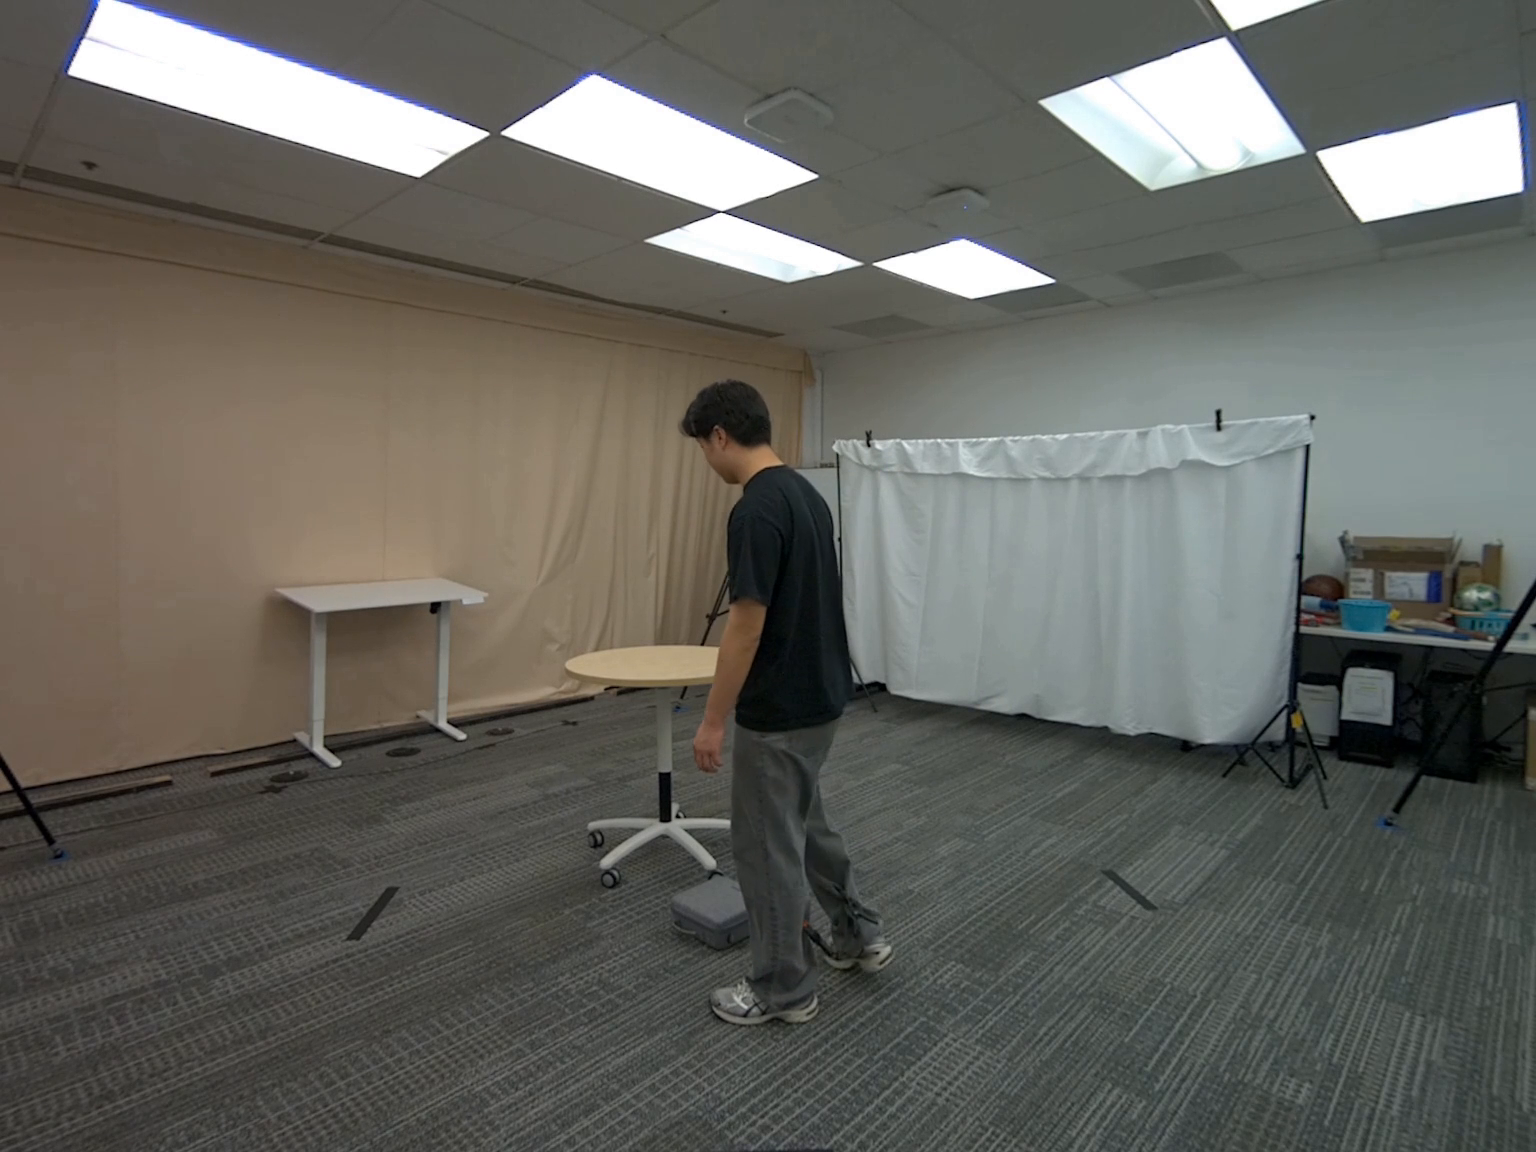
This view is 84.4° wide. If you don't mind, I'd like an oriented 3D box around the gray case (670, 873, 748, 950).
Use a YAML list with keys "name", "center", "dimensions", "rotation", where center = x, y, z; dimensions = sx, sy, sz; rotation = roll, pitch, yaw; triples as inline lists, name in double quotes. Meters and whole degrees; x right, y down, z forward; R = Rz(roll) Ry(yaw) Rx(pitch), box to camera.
- name: "gray case"
  center: [-0.159, 1.107, 2.775]
  dimensions: [0.278, 0.103, 0.272]
  rotation: [-6, 7, -44]
